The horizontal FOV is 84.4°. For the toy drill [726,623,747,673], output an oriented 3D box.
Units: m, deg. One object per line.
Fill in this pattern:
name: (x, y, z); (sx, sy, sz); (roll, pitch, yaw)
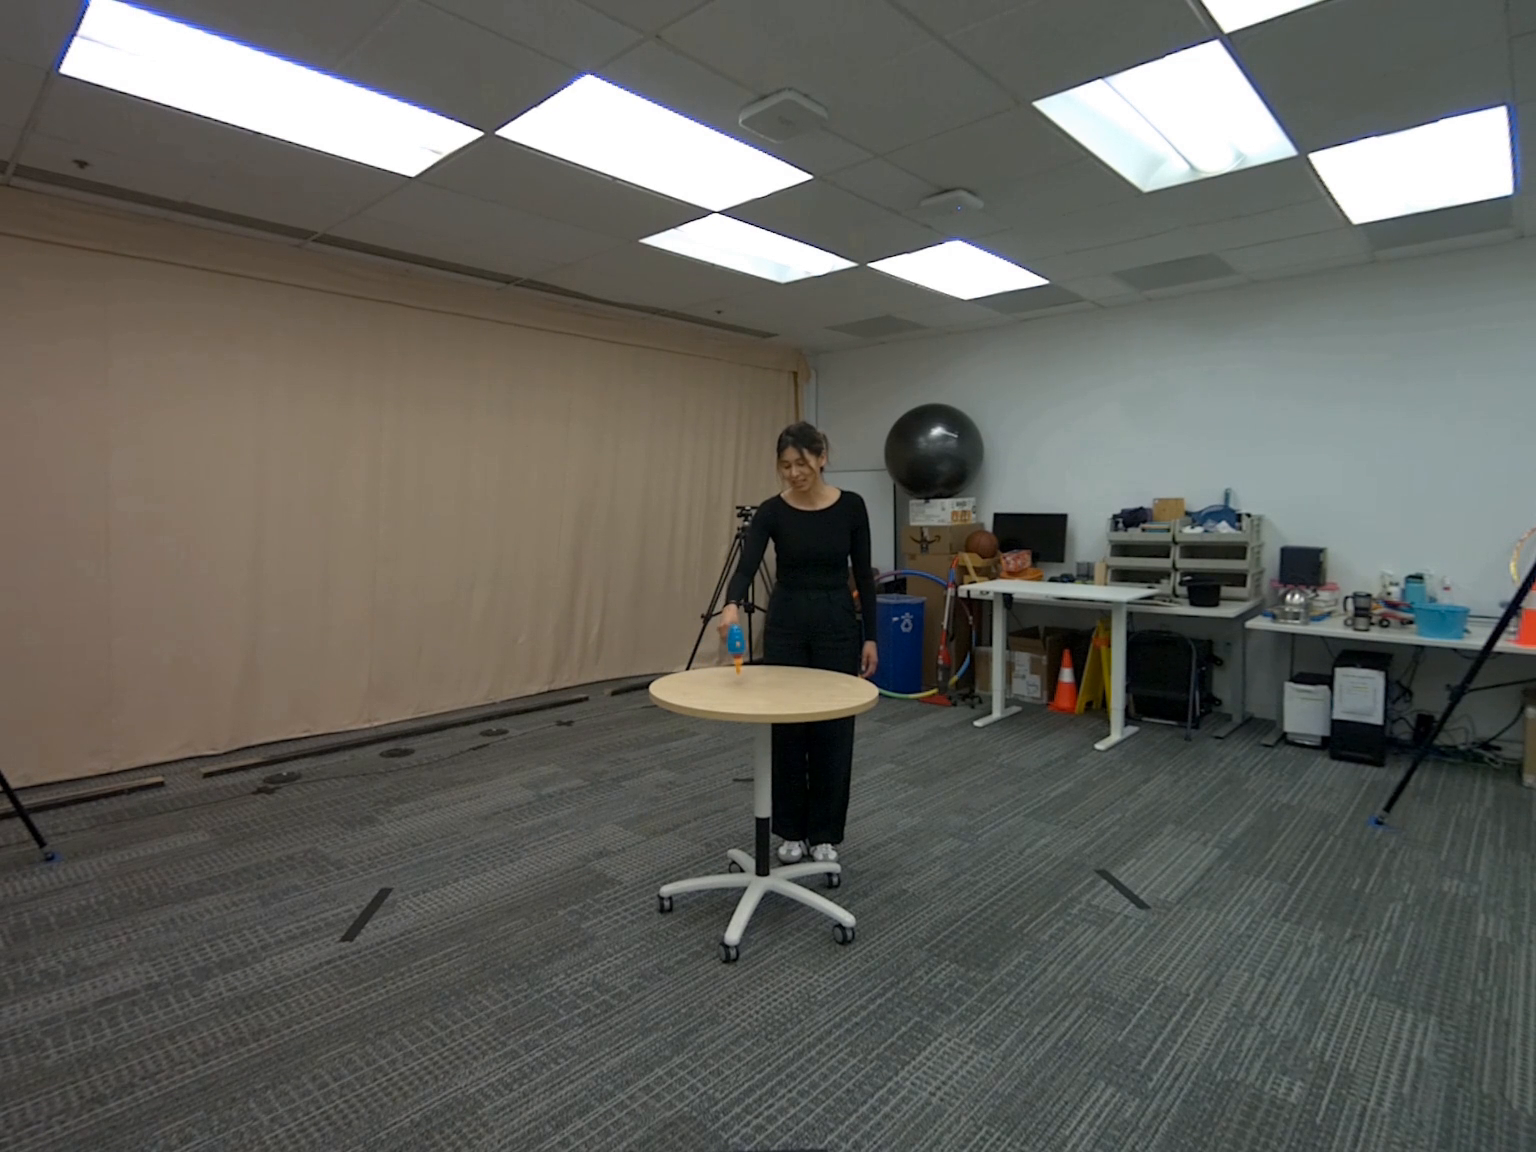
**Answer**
toy drill: (-0.110, 0.248, 2.851); (0.061, 0.169, 0.147); (-6, 2, -9)
